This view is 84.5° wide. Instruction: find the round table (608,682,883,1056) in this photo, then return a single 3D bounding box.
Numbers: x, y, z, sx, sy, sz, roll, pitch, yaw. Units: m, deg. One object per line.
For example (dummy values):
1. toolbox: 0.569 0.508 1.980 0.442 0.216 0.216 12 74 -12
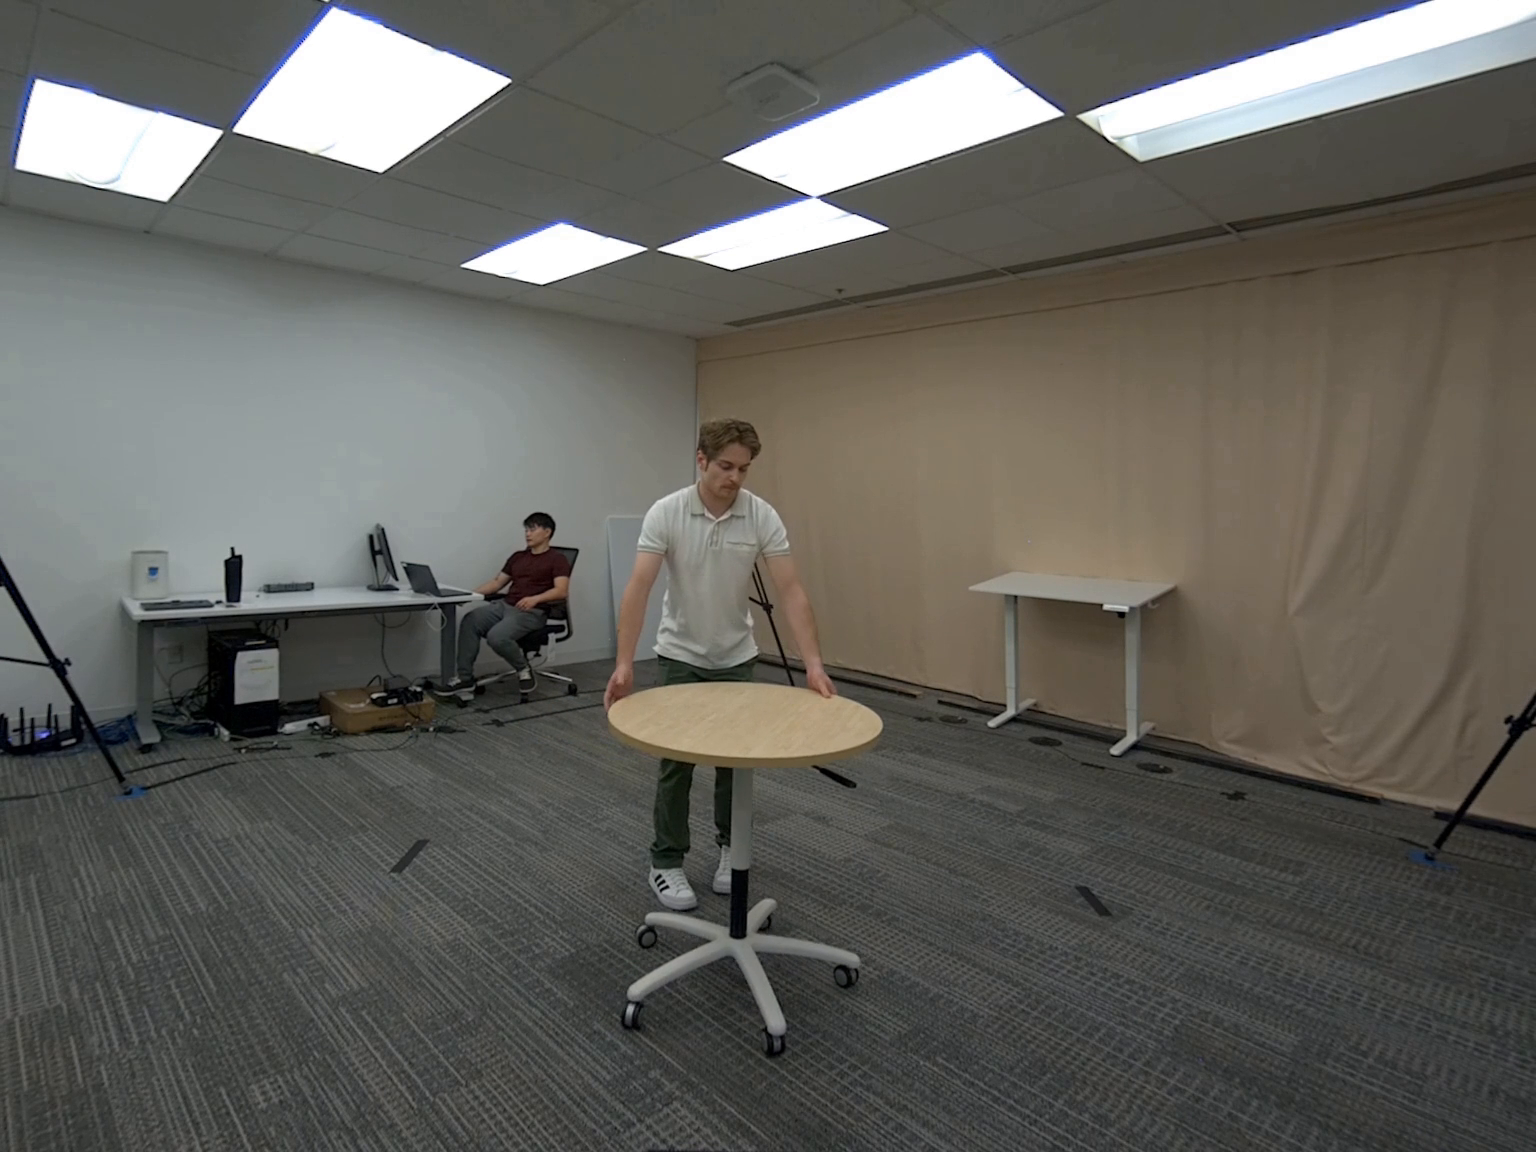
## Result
1. round table: -0.082 0.782 2.393 0.763 0.791 0.767 2 5 -2
